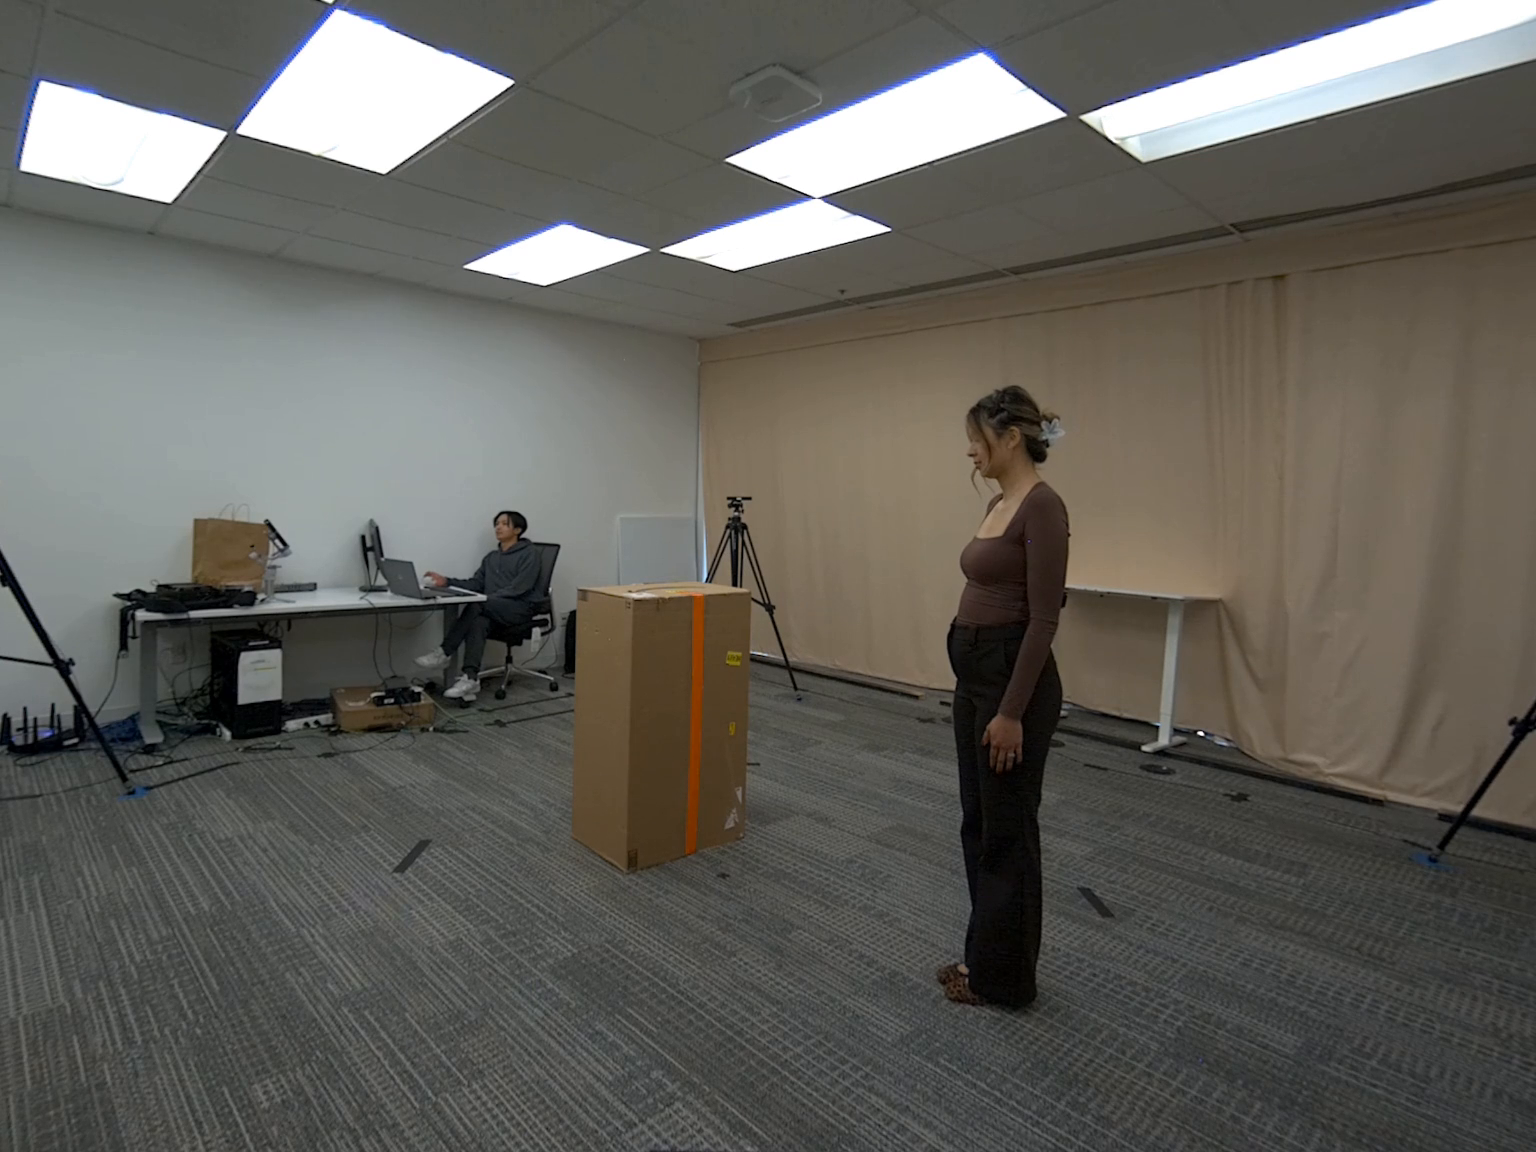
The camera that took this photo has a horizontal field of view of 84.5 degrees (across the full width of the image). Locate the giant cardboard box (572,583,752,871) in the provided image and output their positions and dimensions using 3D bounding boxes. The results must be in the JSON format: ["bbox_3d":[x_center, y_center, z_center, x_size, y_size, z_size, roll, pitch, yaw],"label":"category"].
[{"bbox_3d":[-0.437,0.561,3.415,0.571,1.024,0.458,-1,5,-39],"label":"giant cardboard box"}]
